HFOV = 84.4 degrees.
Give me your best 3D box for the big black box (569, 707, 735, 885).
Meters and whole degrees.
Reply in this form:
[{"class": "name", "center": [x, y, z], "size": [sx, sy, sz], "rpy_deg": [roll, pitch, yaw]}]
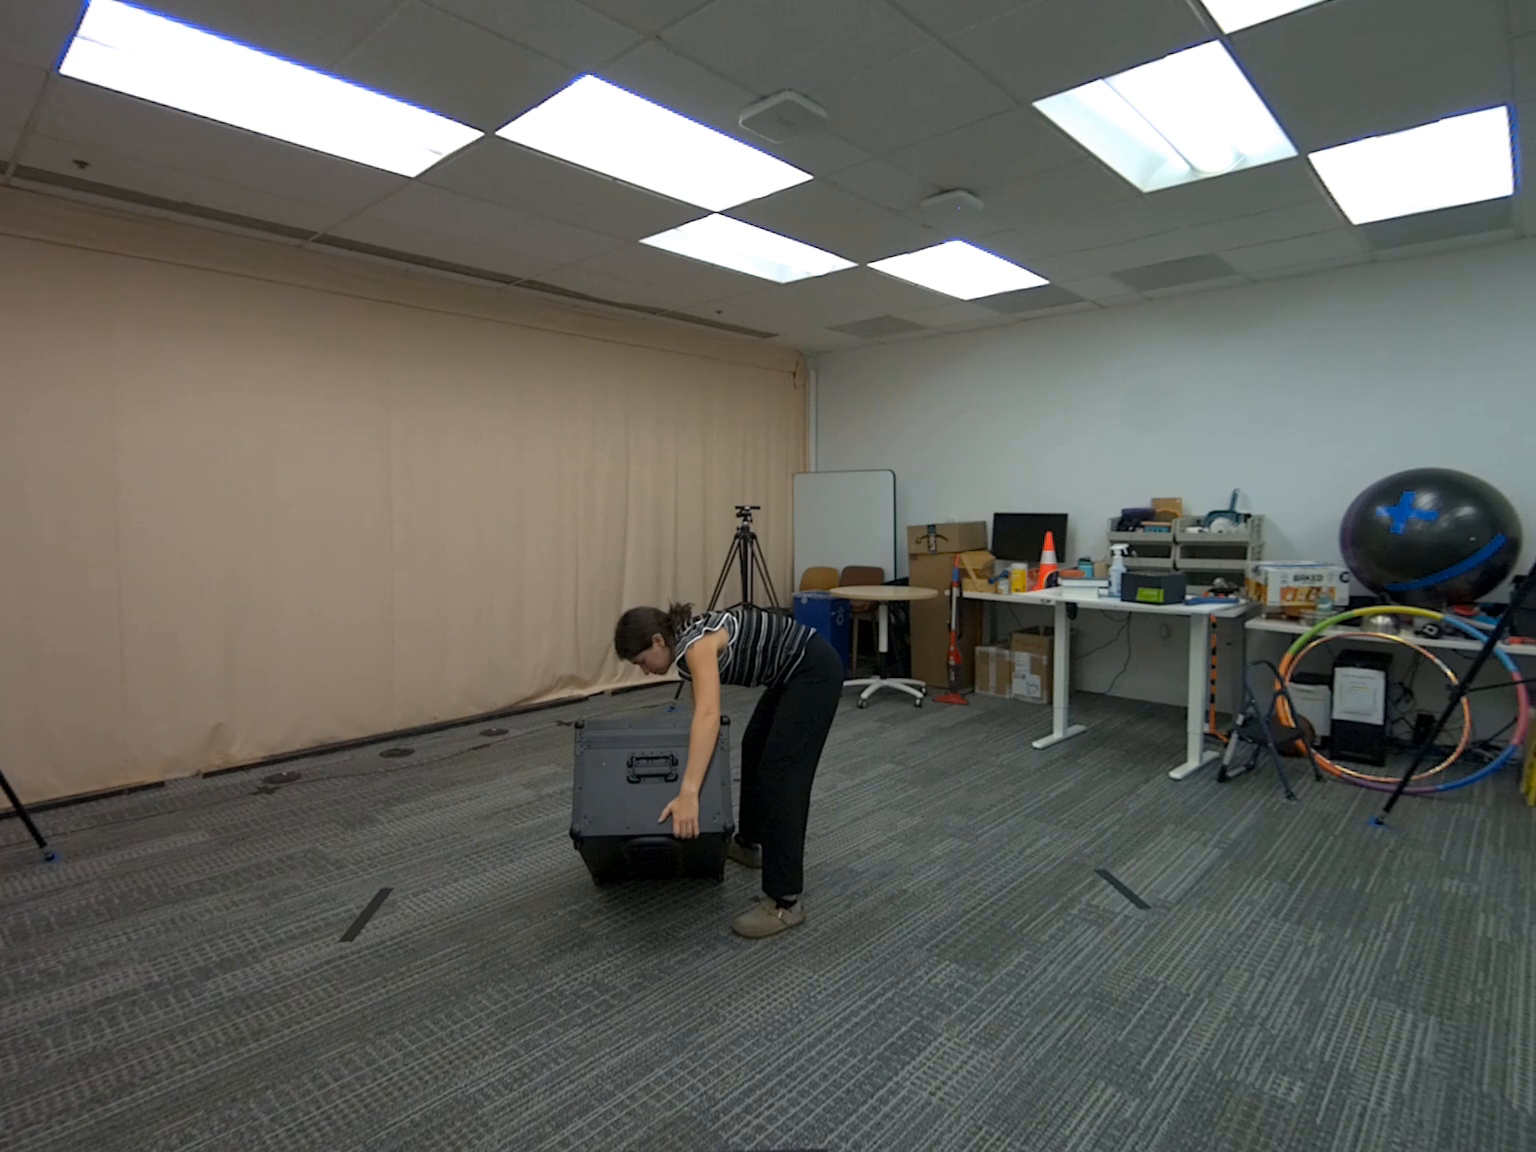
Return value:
[{"class": "big black box", "center": [-0.393, 0.818, 2.919], "size": [0.519, 0.403, 0.851], "rpy_deg": [1, -29, -5]}]
